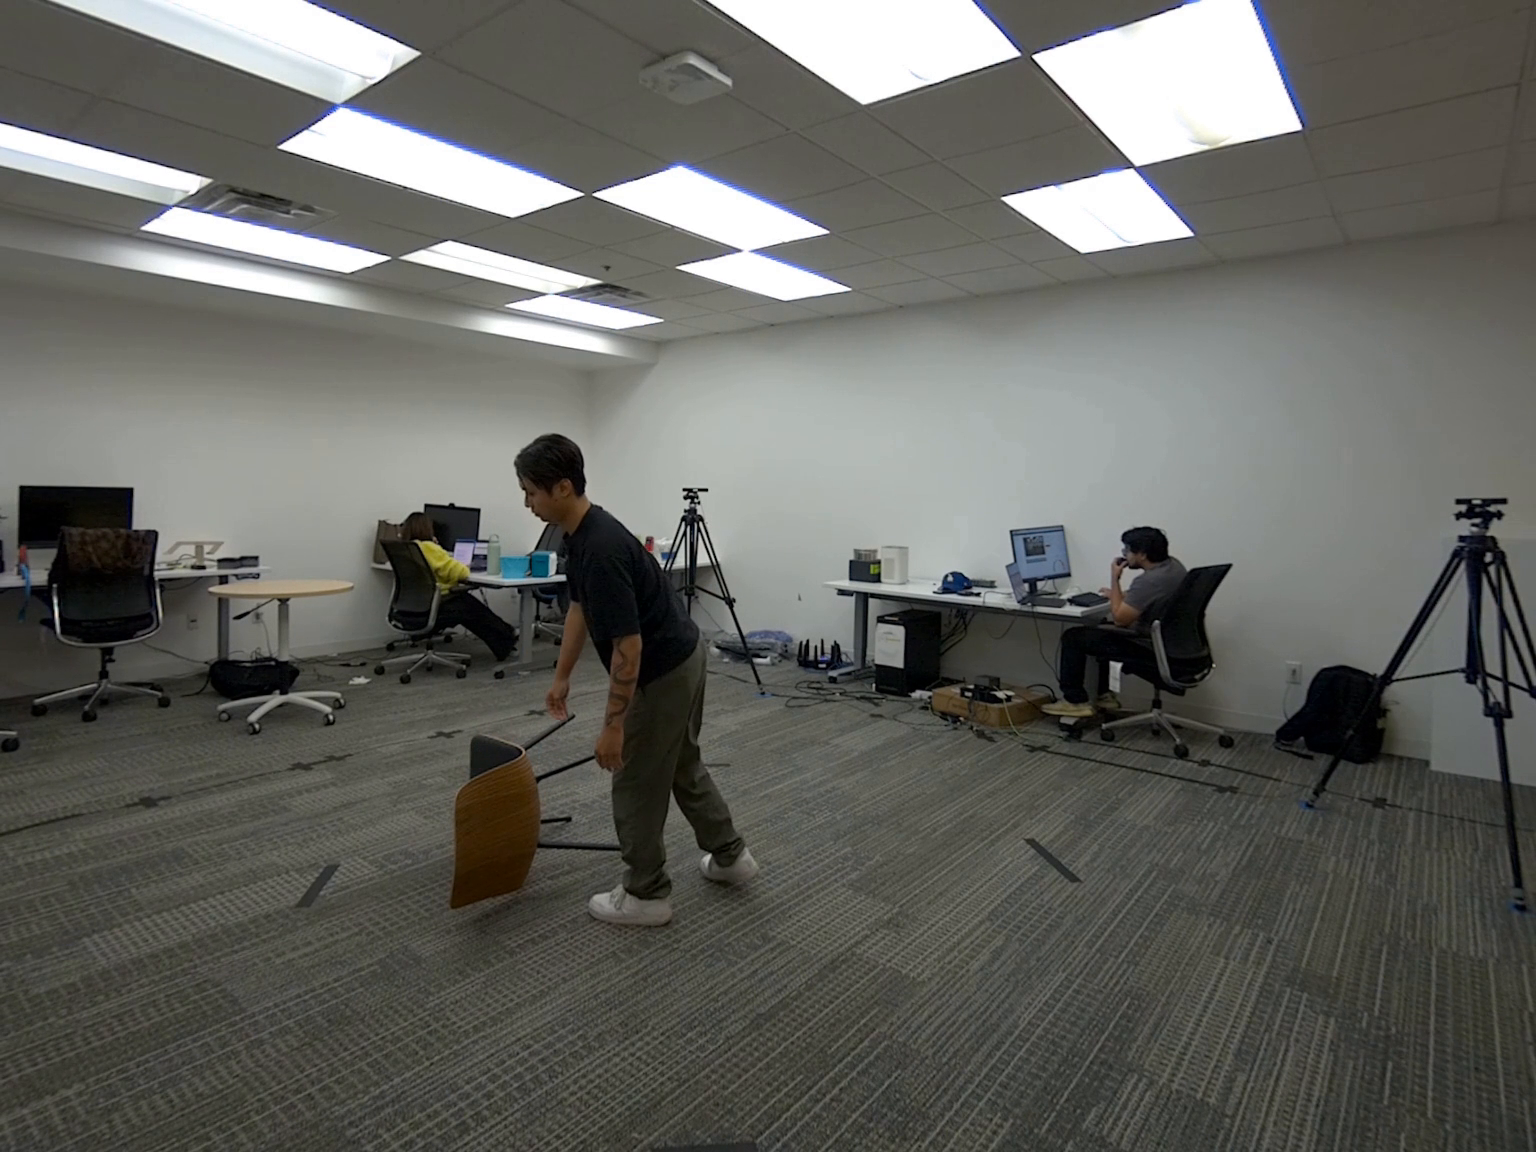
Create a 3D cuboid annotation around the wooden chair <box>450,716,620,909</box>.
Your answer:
[{"bbox_3d":[-0.932,0.830,3.085,0.540,0.476,0.852,5,6,36],"label":"wooden chair"}]
